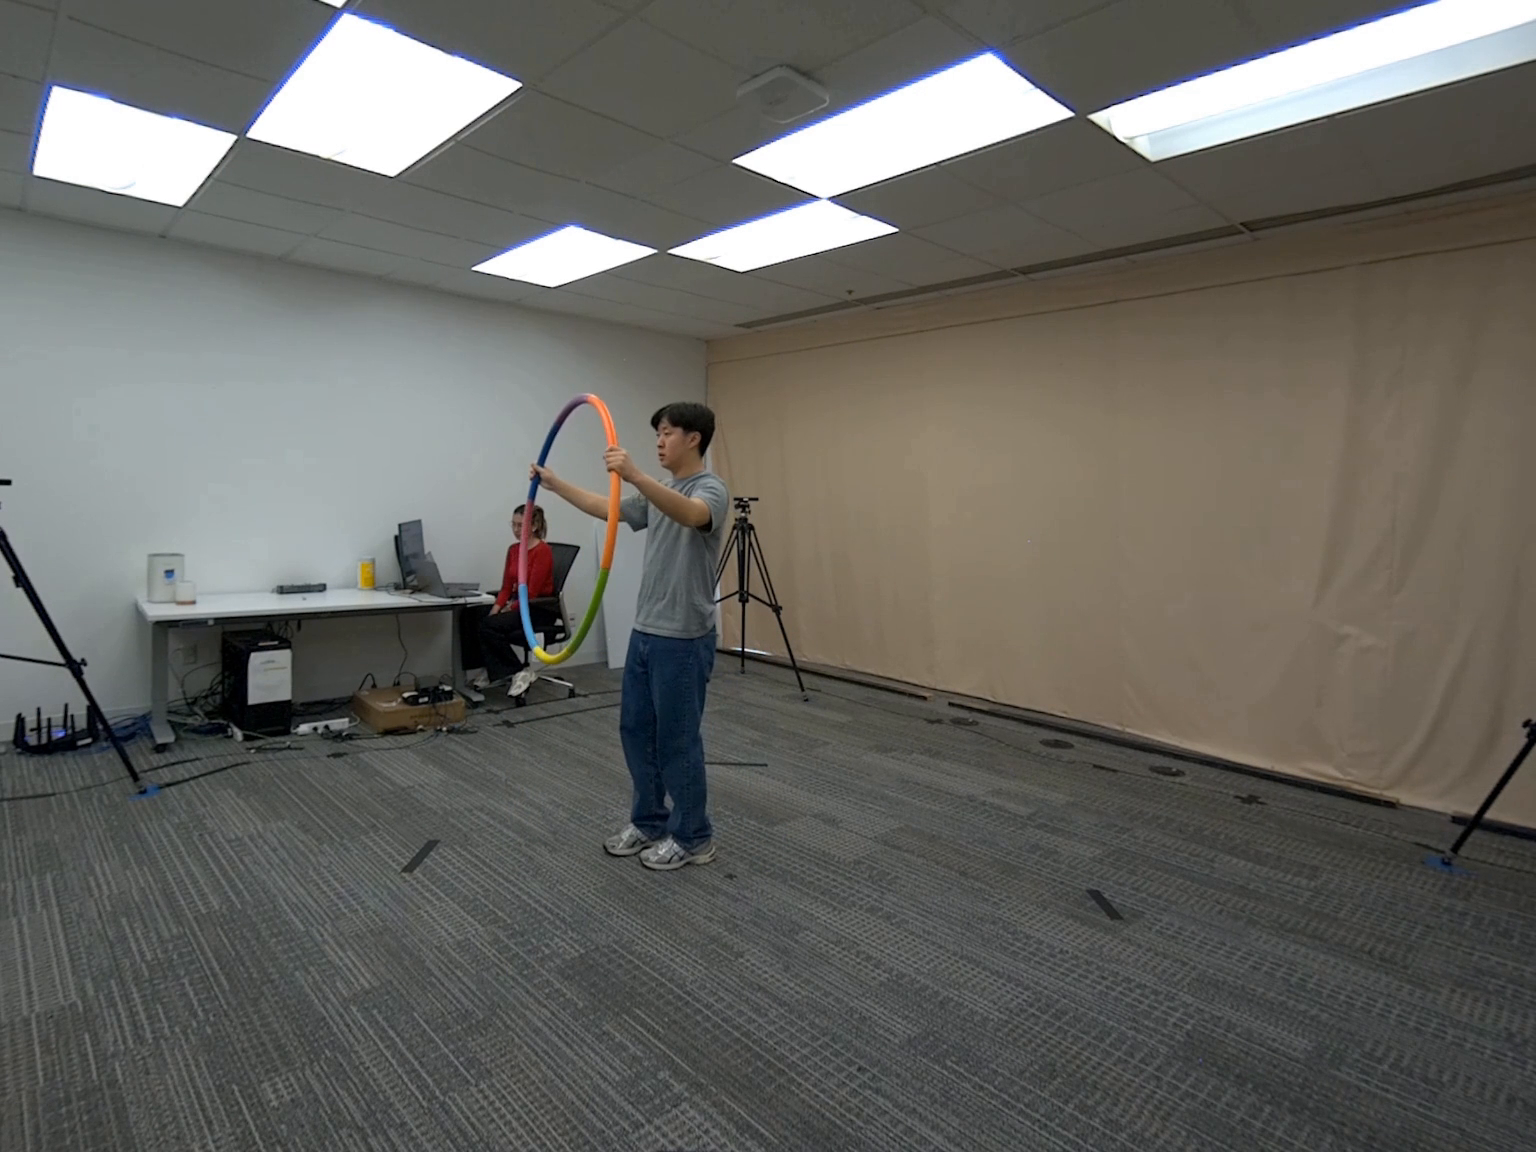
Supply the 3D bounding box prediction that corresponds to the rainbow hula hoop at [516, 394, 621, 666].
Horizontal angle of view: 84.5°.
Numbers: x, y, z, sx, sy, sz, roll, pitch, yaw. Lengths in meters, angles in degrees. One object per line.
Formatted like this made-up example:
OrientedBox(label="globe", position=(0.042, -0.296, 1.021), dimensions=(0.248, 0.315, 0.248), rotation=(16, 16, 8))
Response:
OrientedBox(label="rainbow hula hoop", position=(-0.743, -0.173, 3.060), dimensions=(0.035, 0.979, 1.001), rotation=(8, 0, -31))
